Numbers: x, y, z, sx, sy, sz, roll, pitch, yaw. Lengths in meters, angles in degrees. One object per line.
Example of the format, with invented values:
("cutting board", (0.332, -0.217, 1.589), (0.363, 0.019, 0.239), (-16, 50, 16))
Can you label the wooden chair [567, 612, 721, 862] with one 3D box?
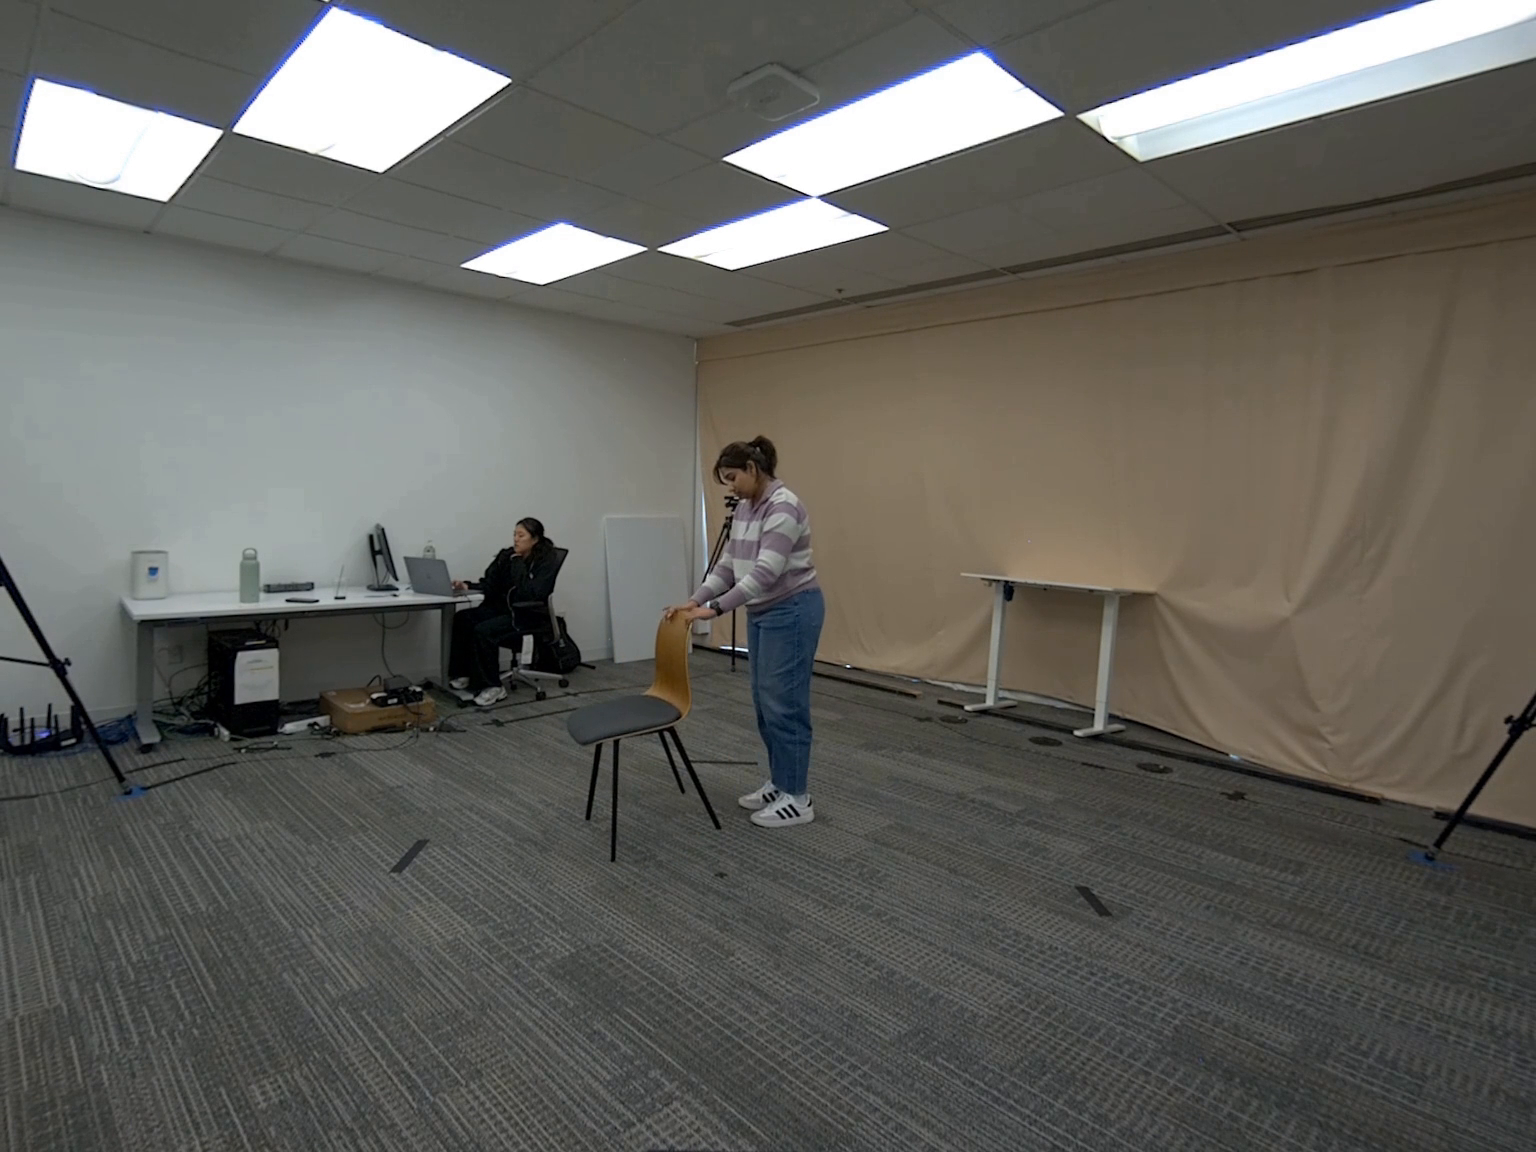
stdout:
("wooden chair", (-0.546, 0.613, 3.421), (0.515, 0.874, 0.487), (-5, 6, -23))
